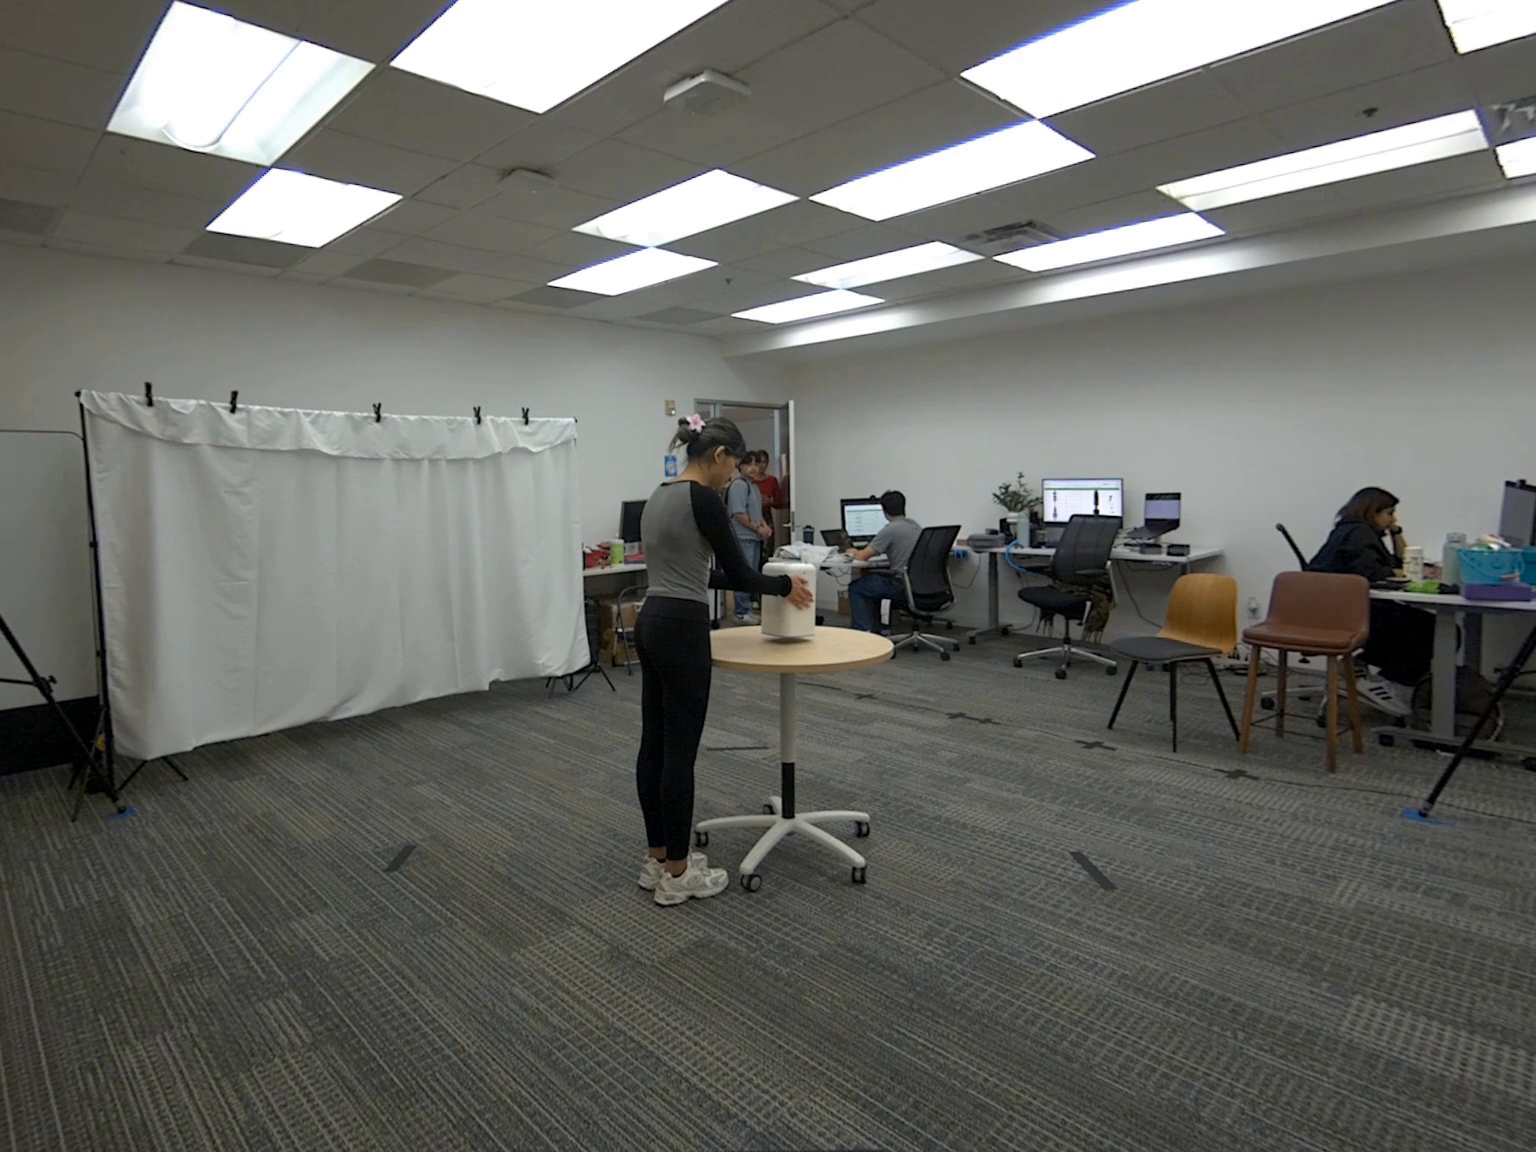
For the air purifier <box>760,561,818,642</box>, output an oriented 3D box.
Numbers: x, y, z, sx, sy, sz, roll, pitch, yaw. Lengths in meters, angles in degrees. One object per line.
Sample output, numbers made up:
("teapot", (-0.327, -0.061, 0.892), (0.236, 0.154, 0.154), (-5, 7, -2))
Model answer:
("air purifier", (0.073, 0.084, 3.175), (0.166, 0.265, 0.176), (0, 1, -39))
